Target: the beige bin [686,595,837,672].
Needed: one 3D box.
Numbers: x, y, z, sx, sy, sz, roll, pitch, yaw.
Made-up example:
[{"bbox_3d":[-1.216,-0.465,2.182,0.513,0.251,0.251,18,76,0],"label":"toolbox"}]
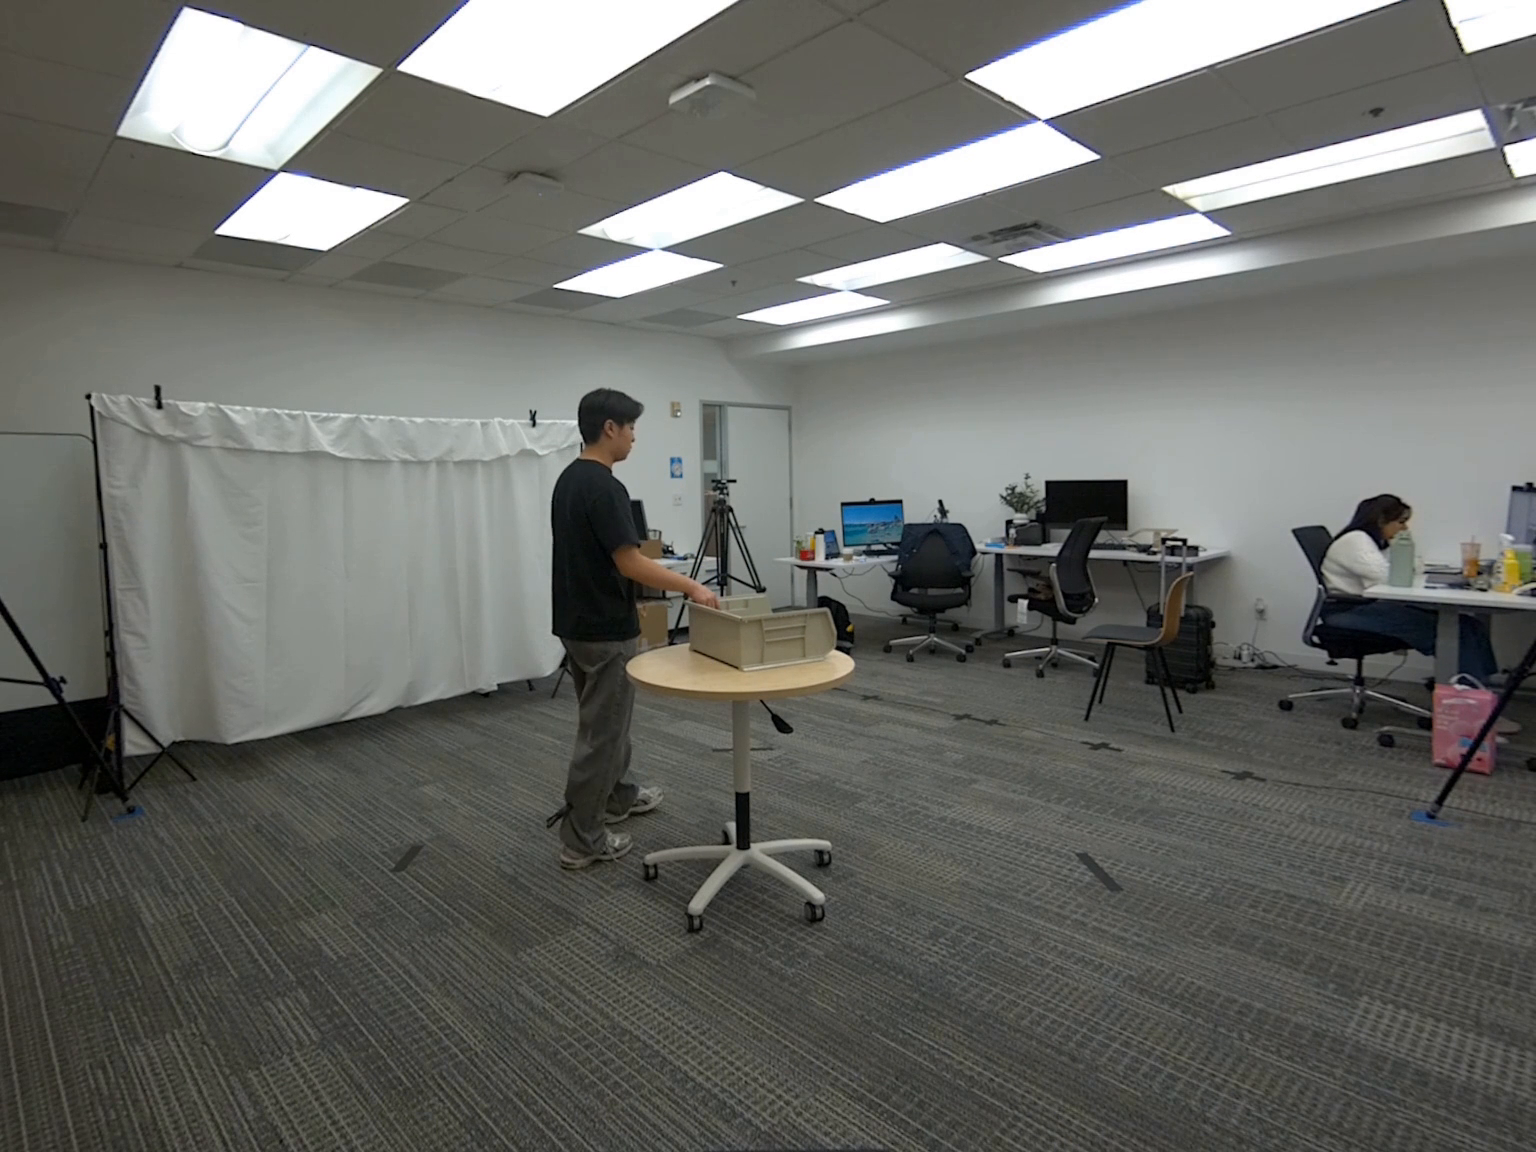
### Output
[{"bbox_3d":[-0.019,0.187,2.977,0.371,0.188,0.432,-7,8,-23],"label":"beige bin"}]
